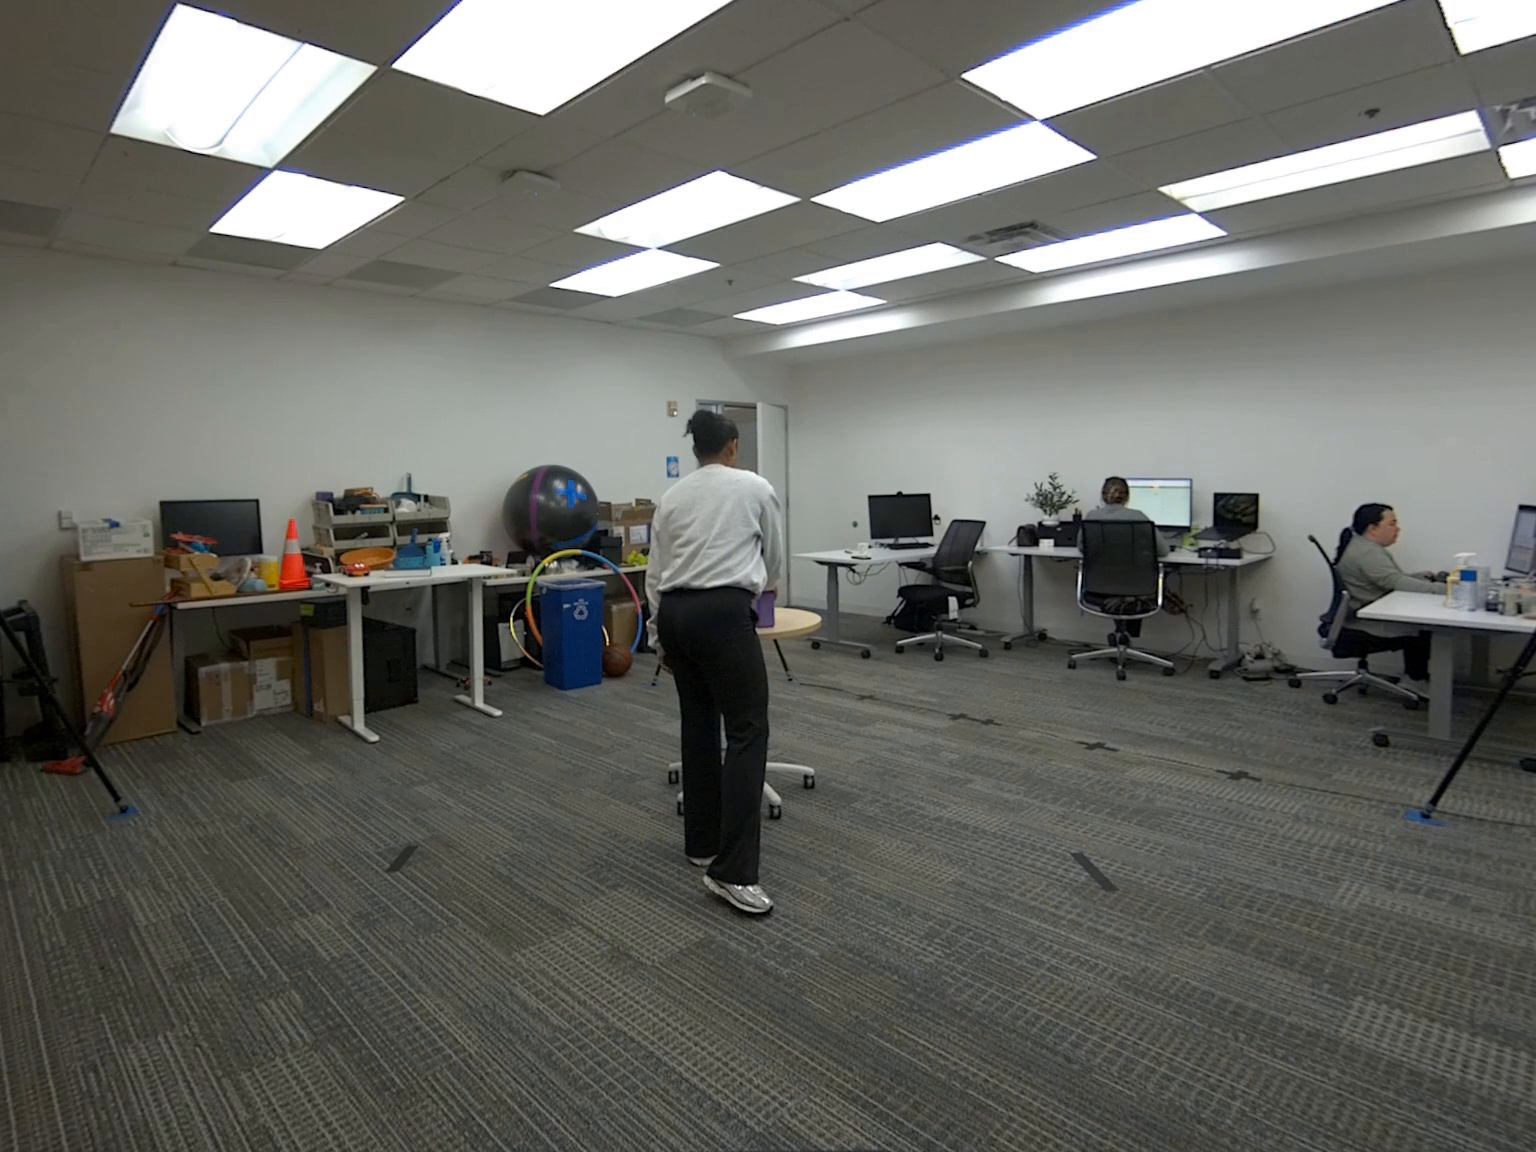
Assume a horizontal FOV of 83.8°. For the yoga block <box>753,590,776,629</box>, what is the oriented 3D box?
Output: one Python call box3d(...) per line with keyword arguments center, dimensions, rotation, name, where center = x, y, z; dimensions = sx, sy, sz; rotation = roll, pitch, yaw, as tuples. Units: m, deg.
box3d(center=(-0.039, 0.130, 3.617), dimensions=(0.075, 0.148, 0.233), rotation=(0, 5, -15), name="yoga block")
